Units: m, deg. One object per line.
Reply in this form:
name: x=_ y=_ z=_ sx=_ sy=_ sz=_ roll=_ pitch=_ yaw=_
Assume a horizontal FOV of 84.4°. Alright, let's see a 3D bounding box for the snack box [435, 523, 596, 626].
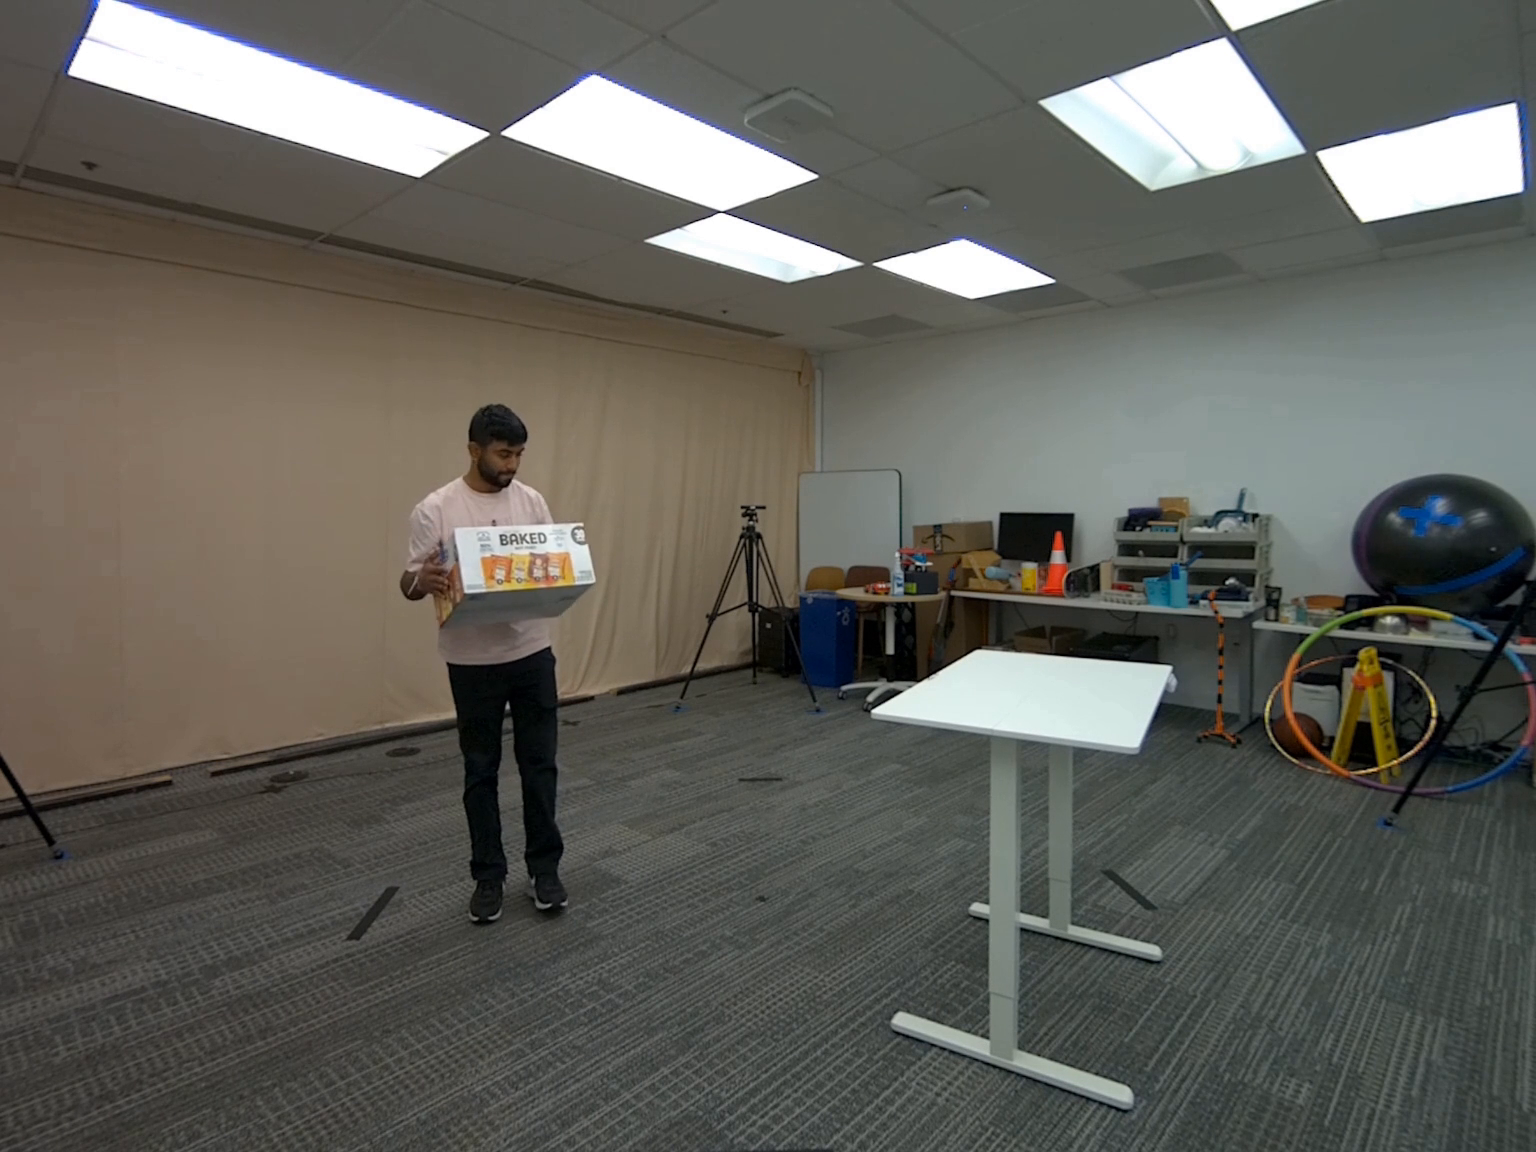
snack box: x=-0.803 y=0.001 z=2.627 sx=0.394 sy=0.208 sz=0.345 roll=-4 pitch=-18 yaw=-35
